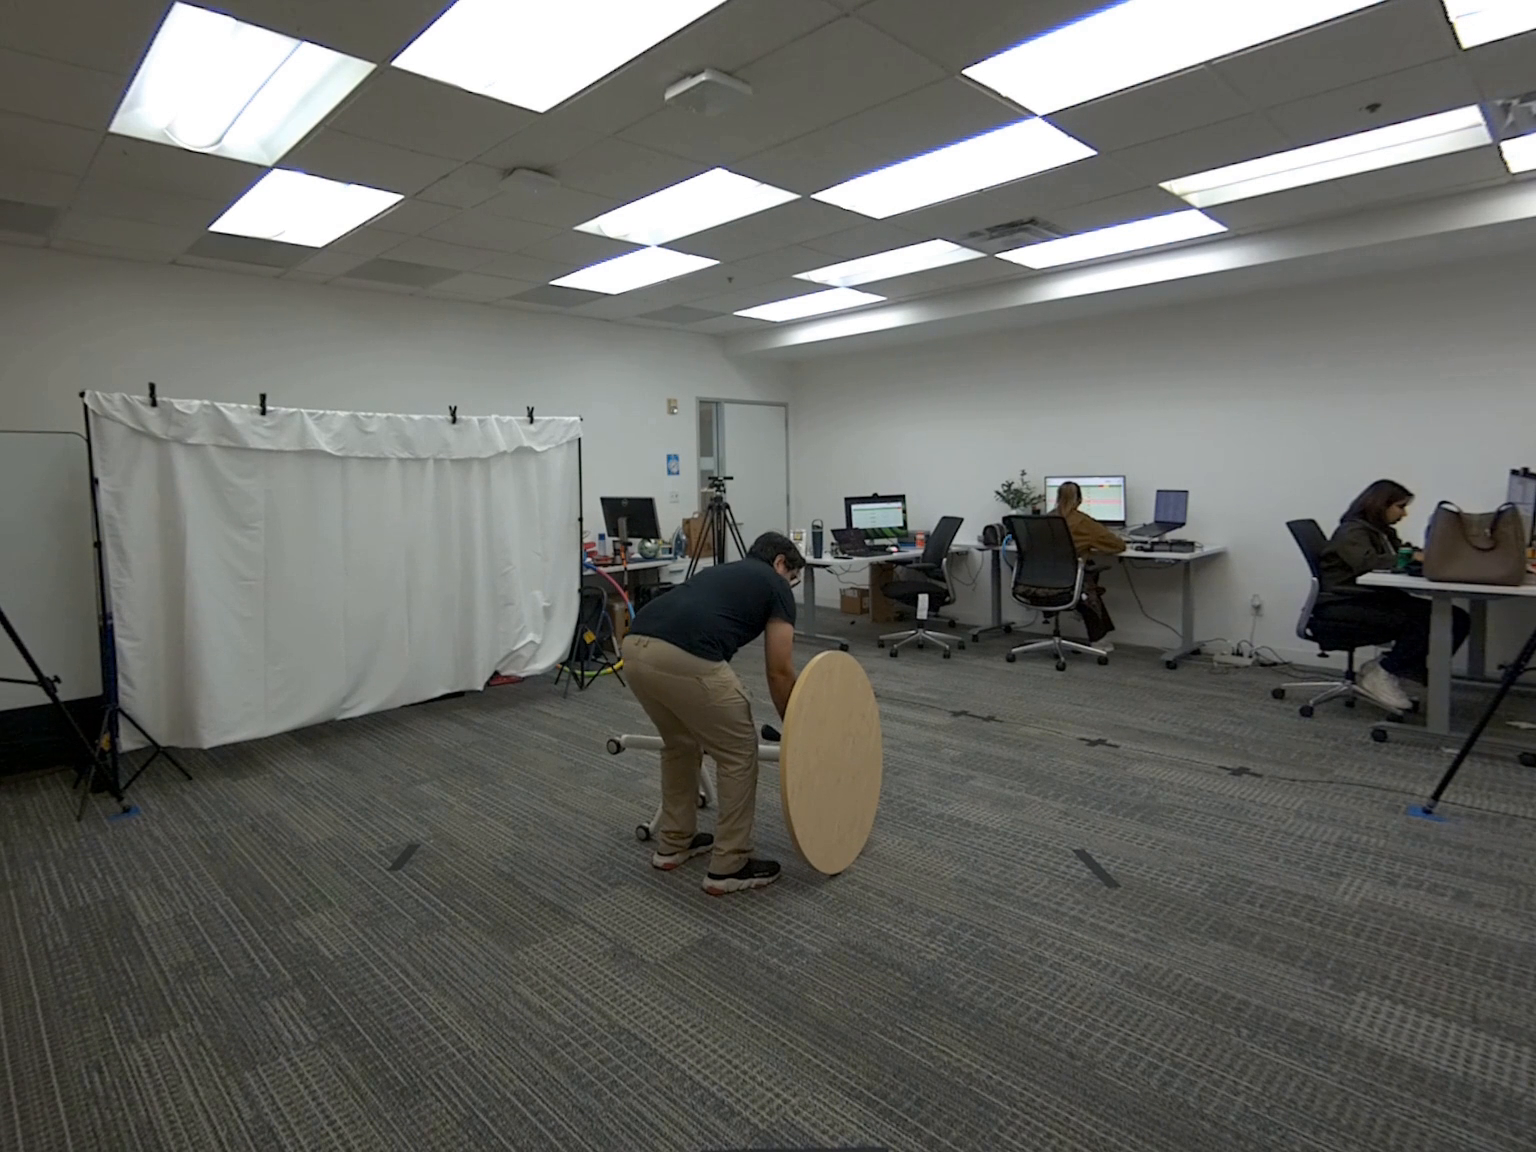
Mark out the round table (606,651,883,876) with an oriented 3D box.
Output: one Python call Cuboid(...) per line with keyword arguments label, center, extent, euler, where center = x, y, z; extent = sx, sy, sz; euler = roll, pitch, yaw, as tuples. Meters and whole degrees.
Cuboid(label="round table", center=(-0.085, 0.659, 3.271), extent=(0.806, 0.784, 0.767), euler=(-3, 3, 32))
